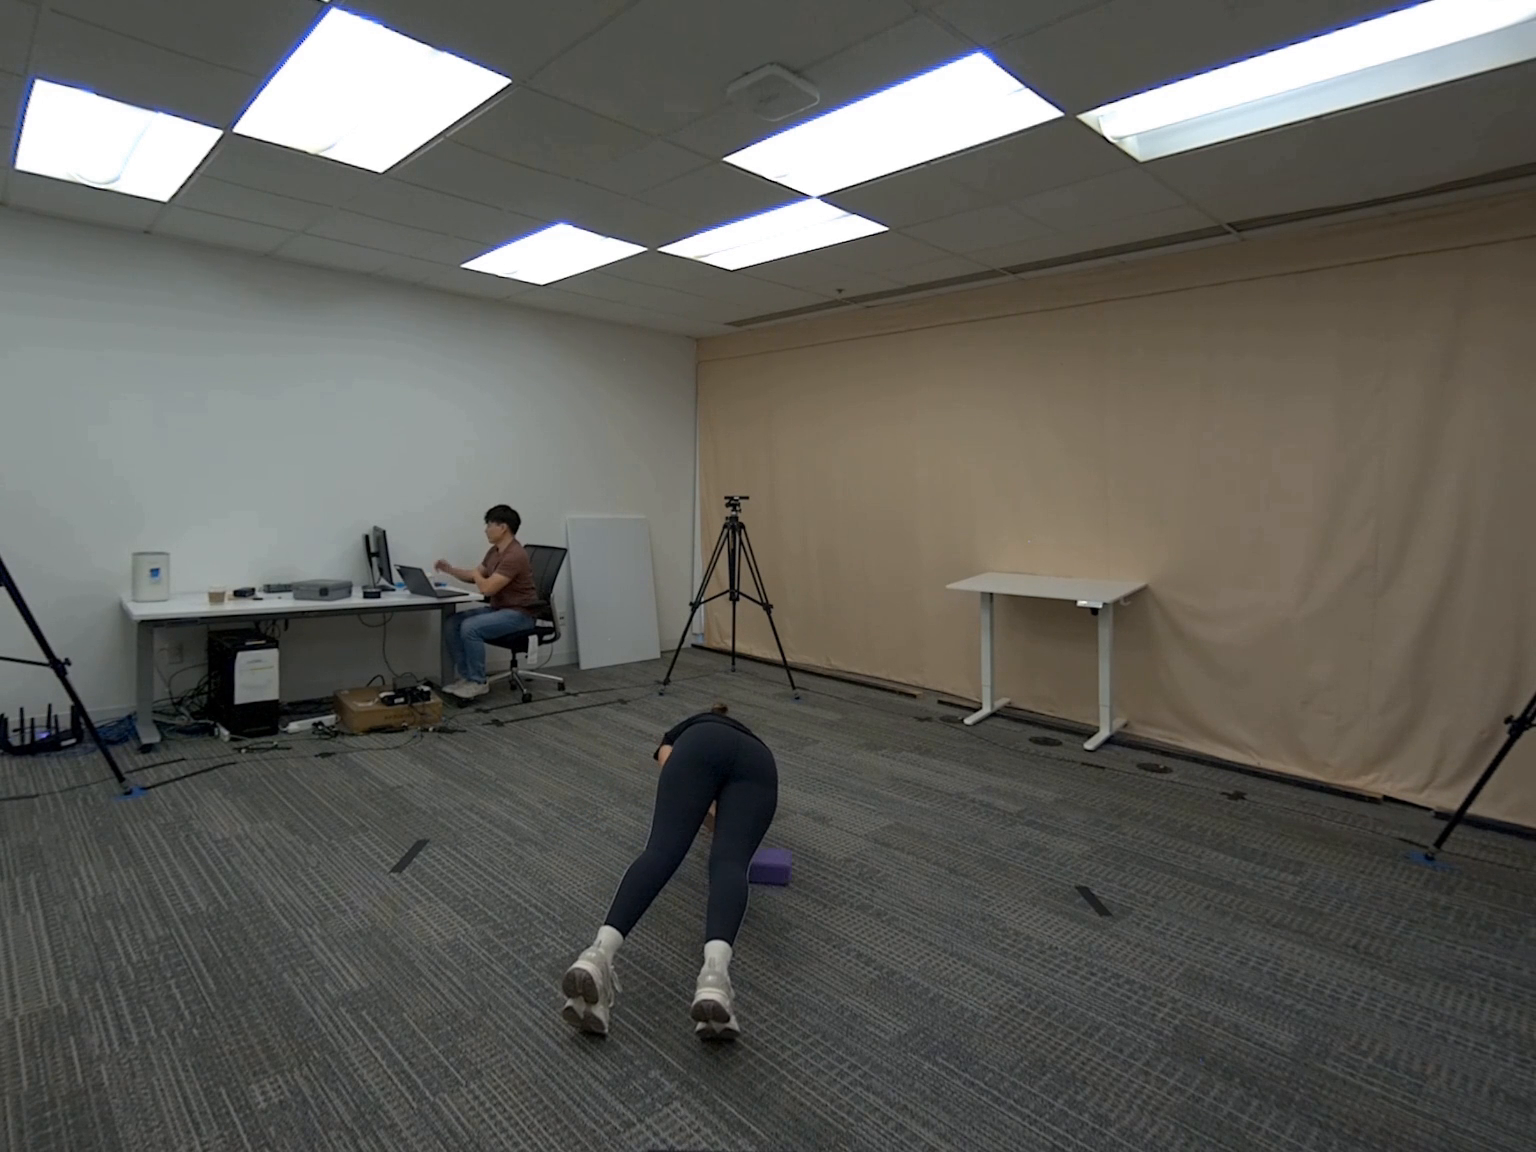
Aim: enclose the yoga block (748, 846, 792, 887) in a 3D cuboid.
[{"bbox_3d":[-0.040,1.067,3.105,0.230,0.076,0.148,1,5,6],"label":"yoga block"}]
